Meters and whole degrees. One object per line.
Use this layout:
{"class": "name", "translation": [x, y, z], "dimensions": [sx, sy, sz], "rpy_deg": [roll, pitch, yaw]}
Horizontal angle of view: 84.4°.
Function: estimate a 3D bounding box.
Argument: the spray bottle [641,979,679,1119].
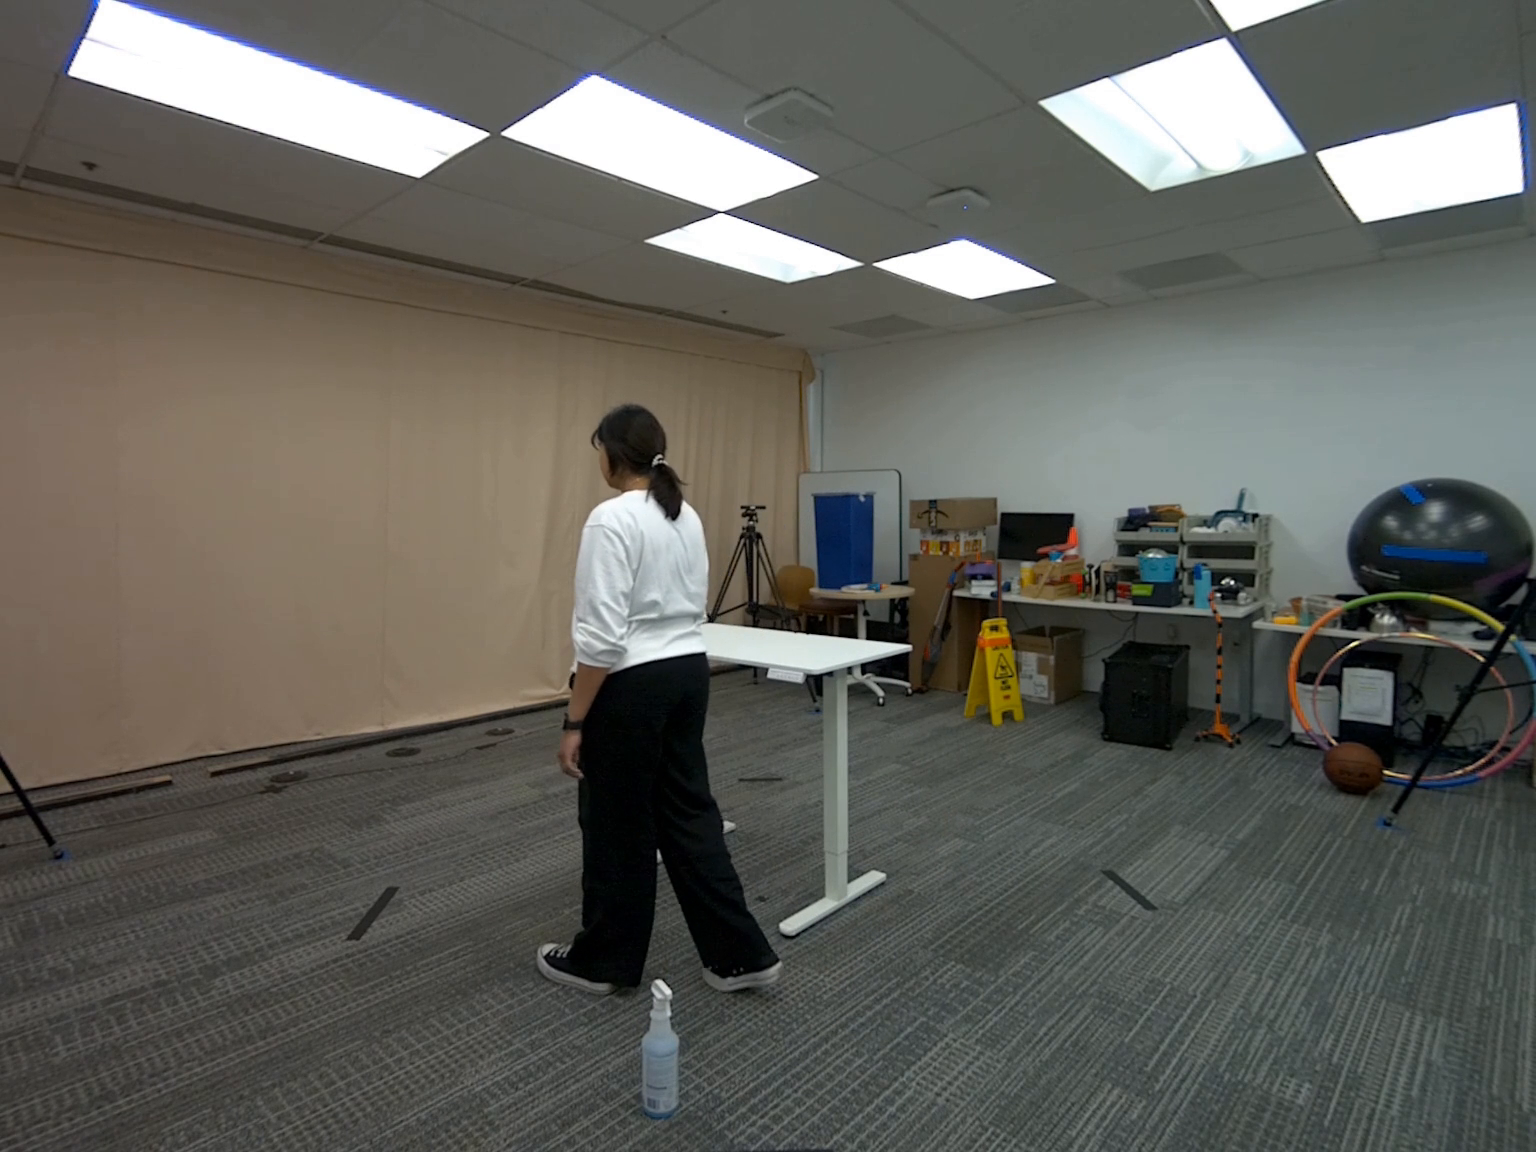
{"class": "spray bottle", "translation": [-0.246, 1.084, 1.946], "dimensions": [0.087, 0.296, 0.090], "rpy_deg": [1, 4, -3]}
